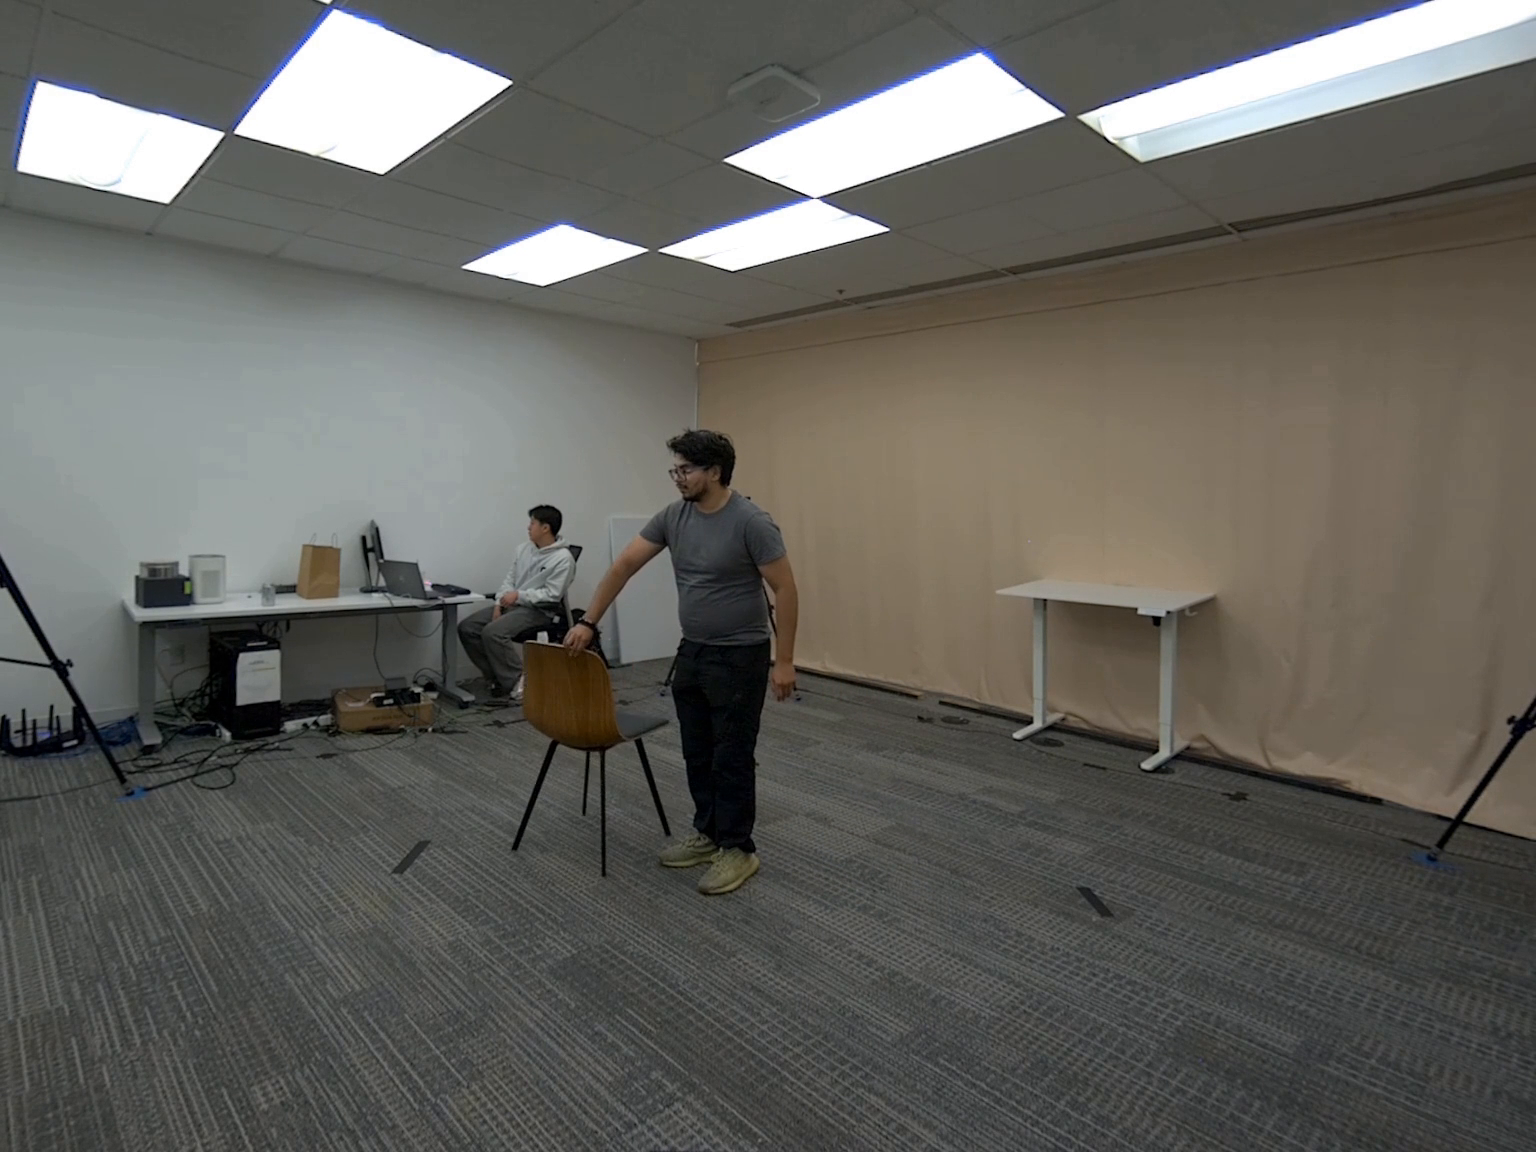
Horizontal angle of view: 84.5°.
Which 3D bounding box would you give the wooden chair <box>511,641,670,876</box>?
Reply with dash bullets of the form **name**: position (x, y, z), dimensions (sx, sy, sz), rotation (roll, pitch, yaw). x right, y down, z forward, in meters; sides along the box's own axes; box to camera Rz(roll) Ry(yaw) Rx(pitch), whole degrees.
- **wooden chair**: position (-0.683, 0.642, 3.356), dimensions (0.488, 0.873, 0.515), rotation (3, 8, 27)
